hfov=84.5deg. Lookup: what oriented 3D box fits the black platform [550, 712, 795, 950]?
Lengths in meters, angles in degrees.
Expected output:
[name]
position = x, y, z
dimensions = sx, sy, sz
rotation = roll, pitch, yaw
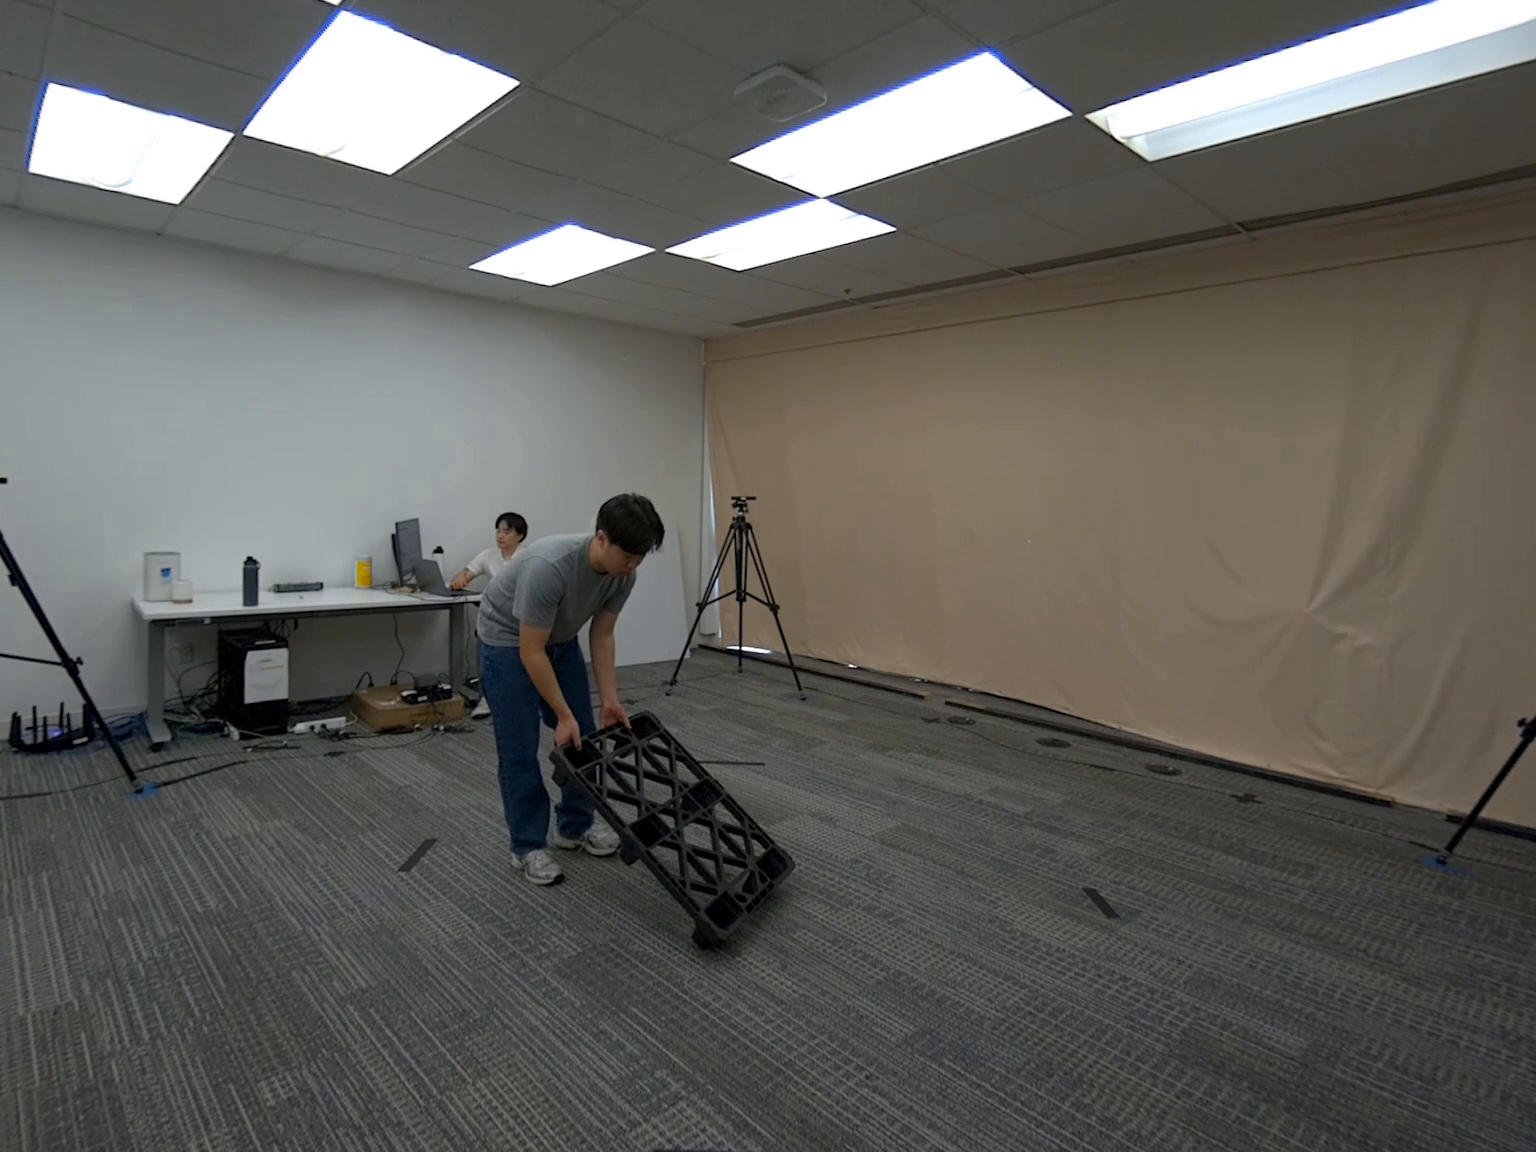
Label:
[black platform]
position = -0.343, 0.849, 2.897
dimensions = 0.821, 0.143, 0.595
rotation = 42, 18, 17
